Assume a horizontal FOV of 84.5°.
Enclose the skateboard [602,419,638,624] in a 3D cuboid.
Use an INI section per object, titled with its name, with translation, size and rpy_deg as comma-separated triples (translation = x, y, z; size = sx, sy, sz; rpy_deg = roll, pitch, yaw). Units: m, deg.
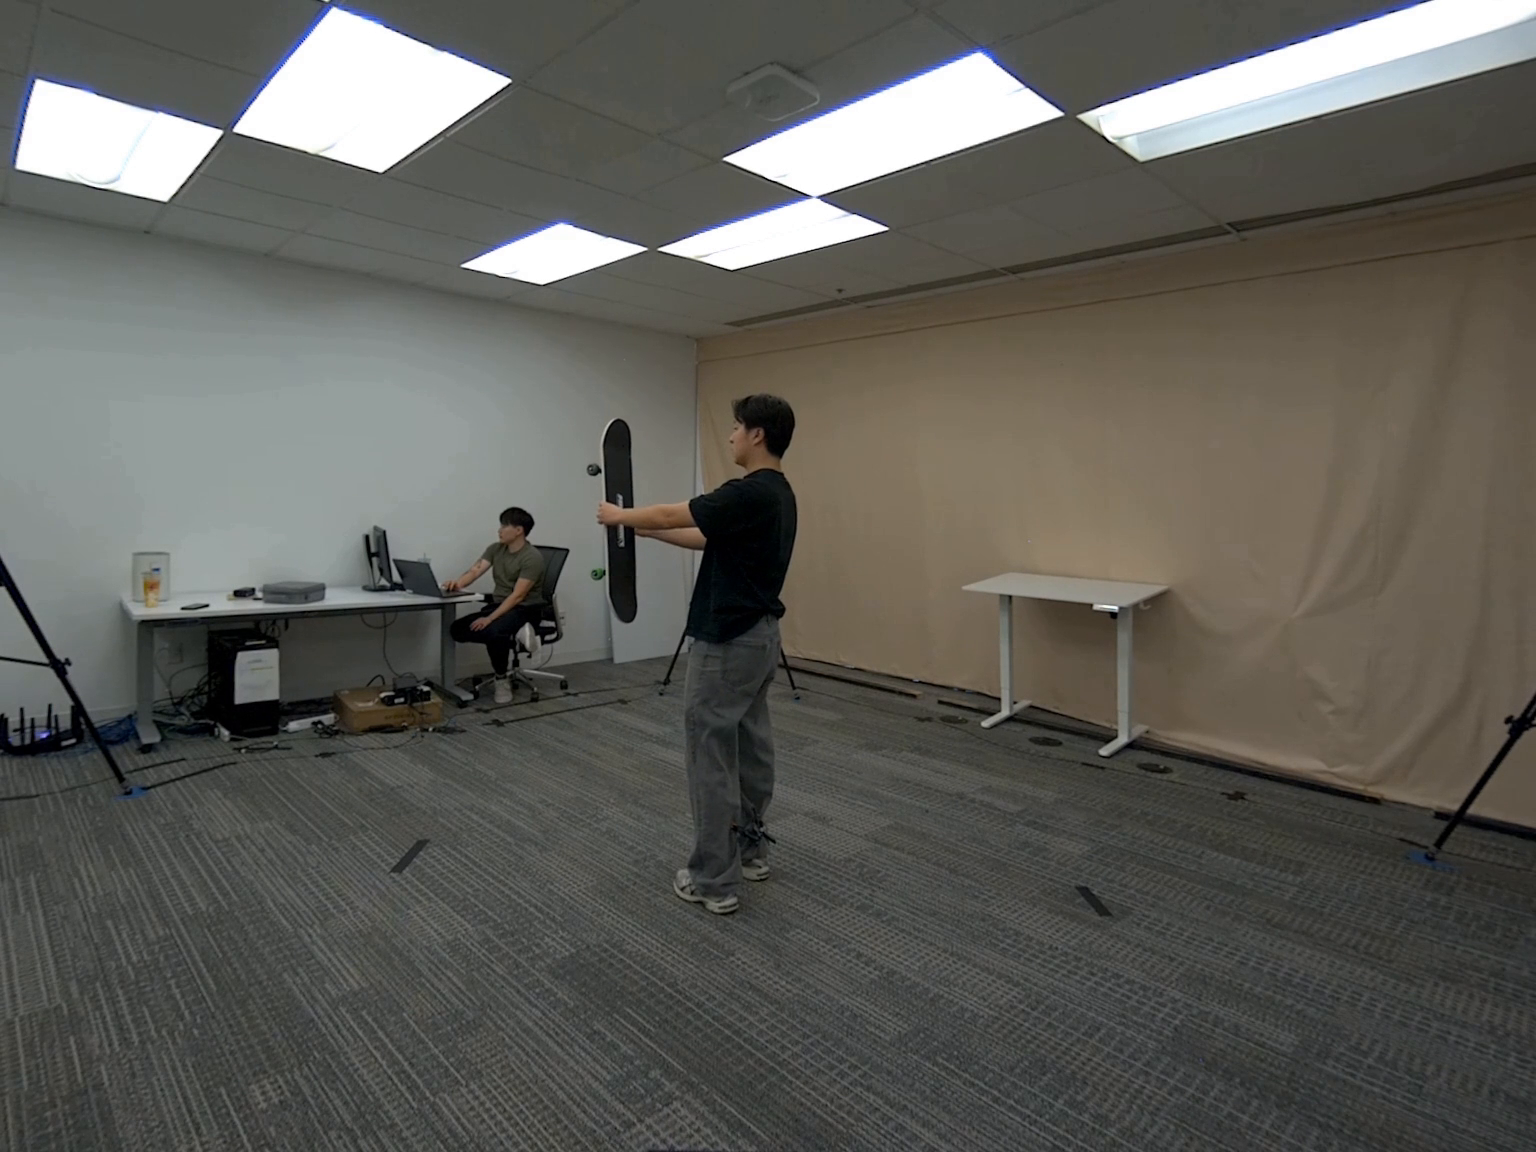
[skateboard]
translation = -0.604, -0.206, 3.253
size = 0.112, 0.787, 0.189
rpy_deg = -4, -3, 26
